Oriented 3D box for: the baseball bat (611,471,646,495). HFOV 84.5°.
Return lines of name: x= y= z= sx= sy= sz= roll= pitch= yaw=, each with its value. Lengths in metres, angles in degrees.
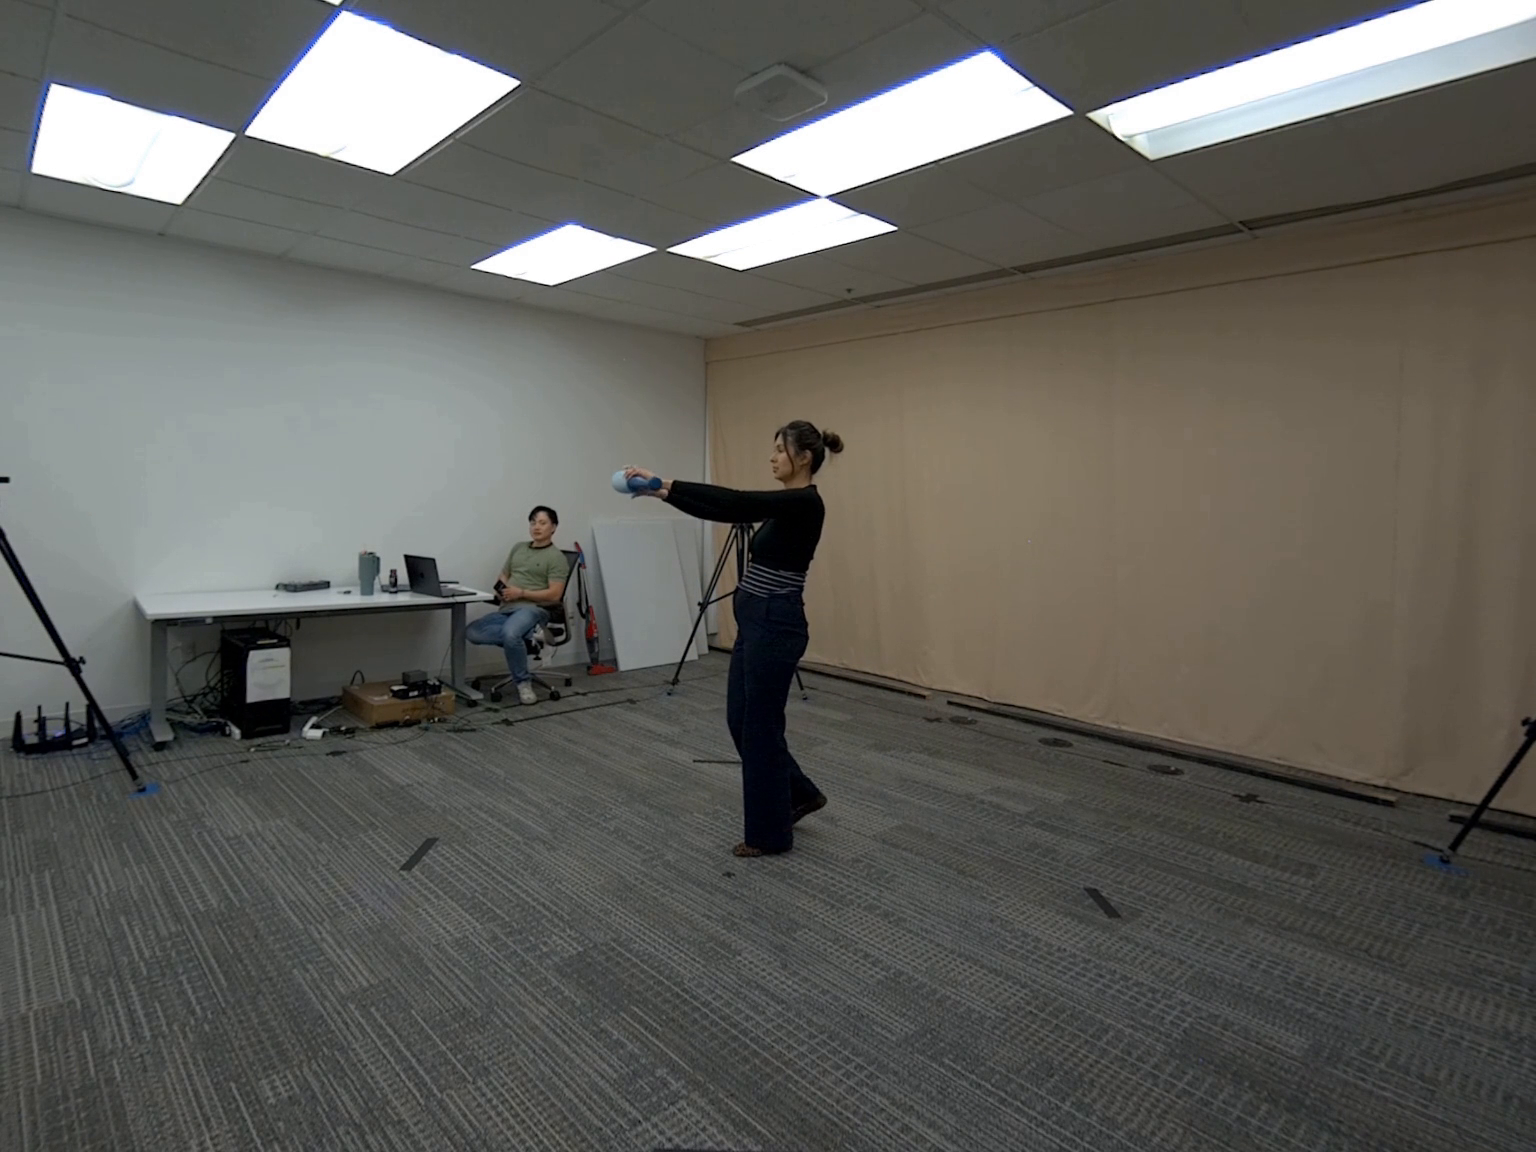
baseball bat: x=-0.481 y=-0.335 z=3.079 sx=0.088 sy=0.088 sz=0.552 roll=0 pitch=7 yaw=-18
